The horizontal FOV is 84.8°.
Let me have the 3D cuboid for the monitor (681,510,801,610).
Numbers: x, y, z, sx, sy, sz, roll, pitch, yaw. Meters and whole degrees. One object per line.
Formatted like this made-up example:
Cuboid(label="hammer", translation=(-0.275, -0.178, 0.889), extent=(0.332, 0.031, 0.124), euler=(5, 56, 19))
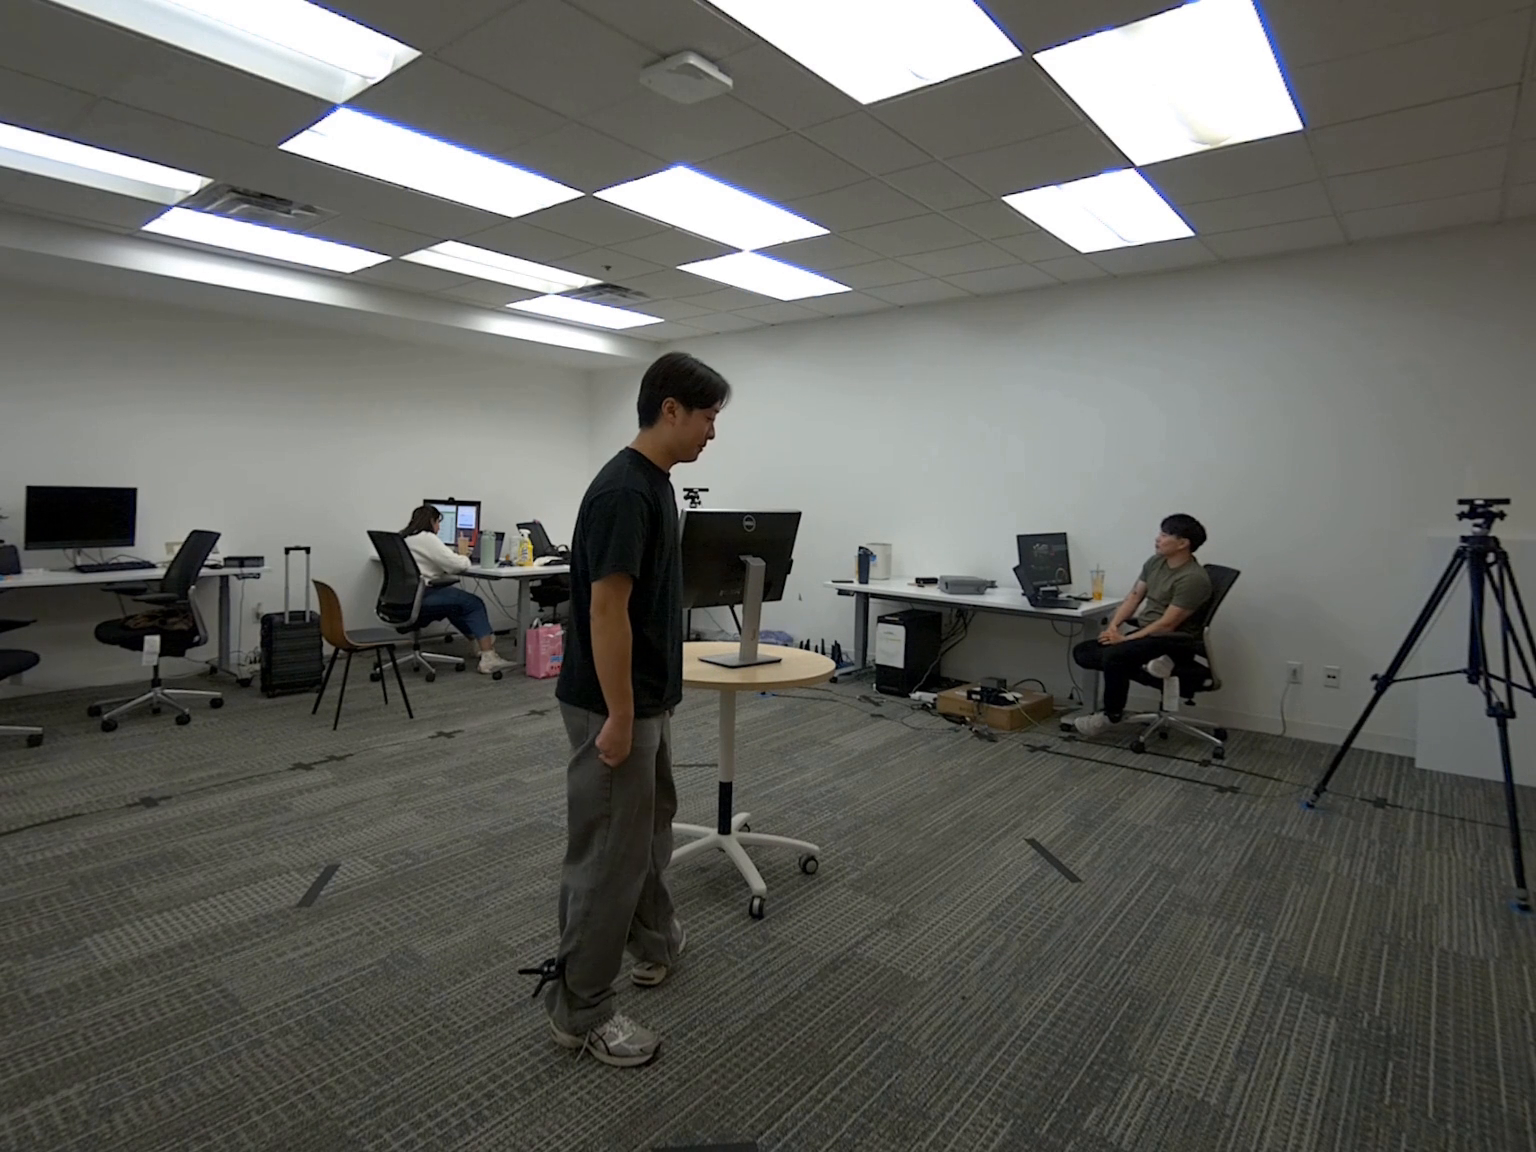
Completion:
Cuboid(label="monitor", translation=(-0.106, 0.040, 3.045), extent=(0.545, 0.565, 0.229), euler=(-1, 2, -39))
